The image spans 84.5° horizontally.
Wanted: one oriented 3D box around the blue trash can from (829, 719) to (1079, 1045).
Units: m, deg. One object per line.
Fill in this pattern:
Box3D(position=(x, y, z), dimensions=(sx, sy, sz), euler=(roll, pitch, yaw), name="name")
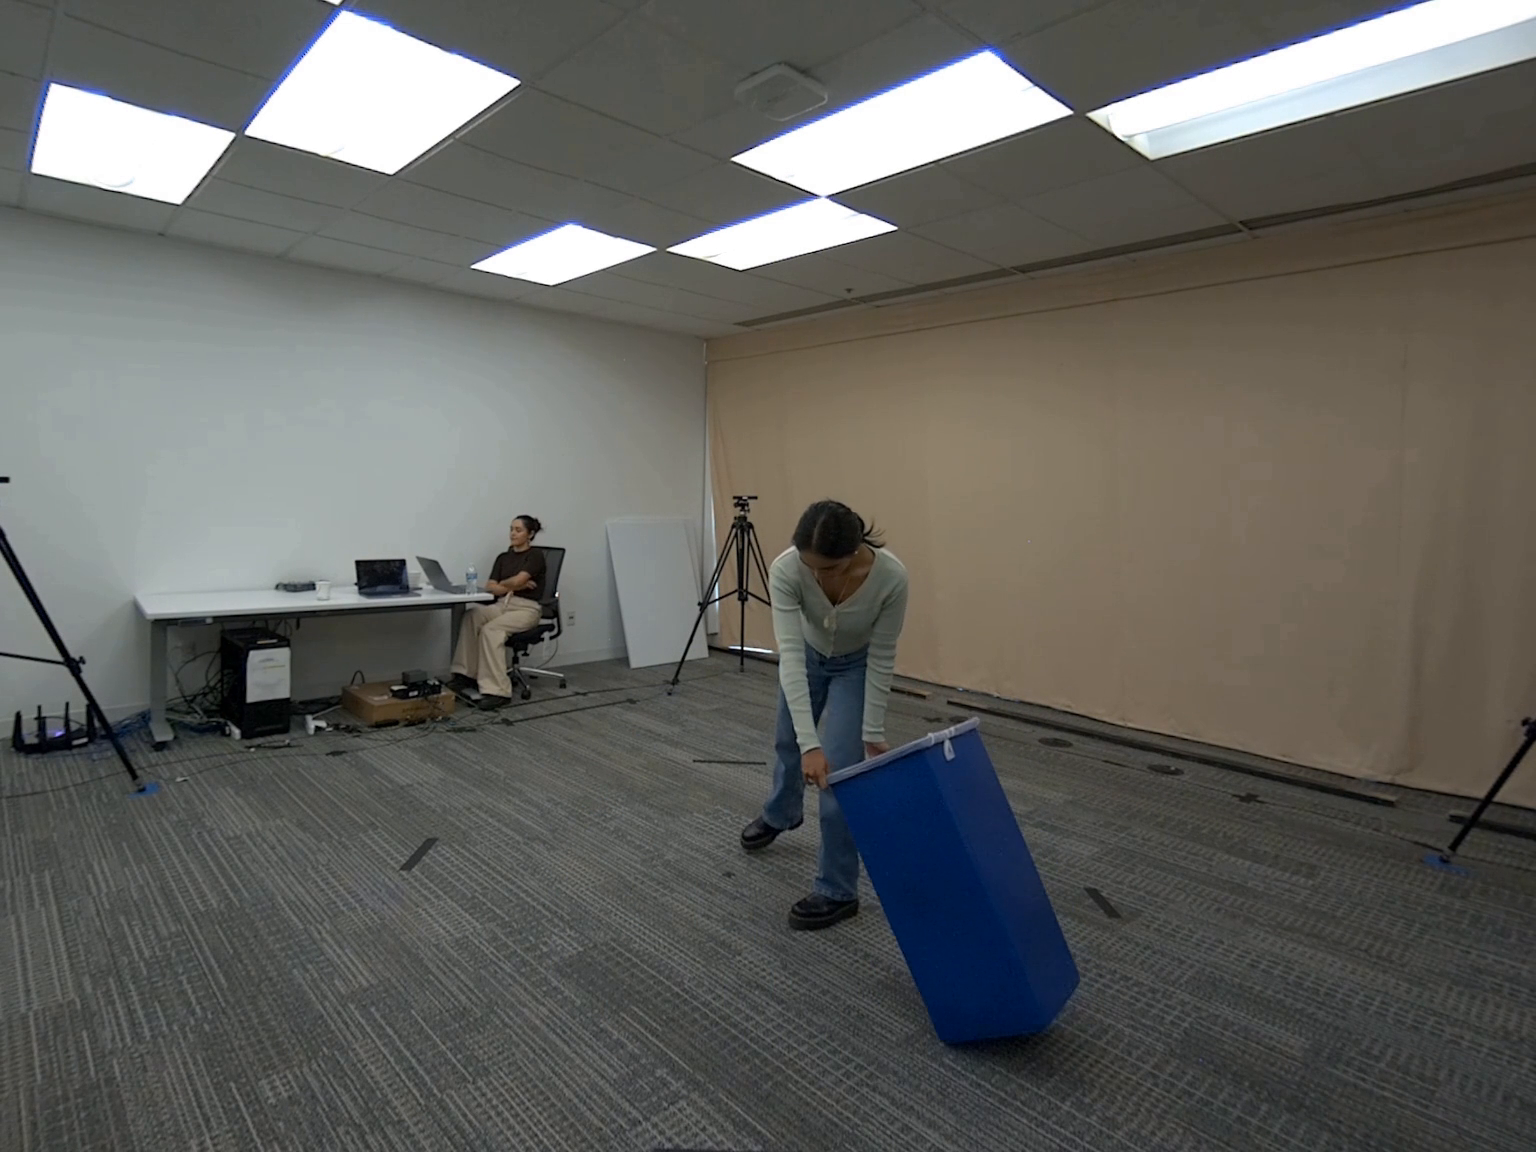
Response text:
Box3D(position=(0.492, 0.814, 2.285), dimensions=(0.377, 0.725, 0.369), euler=(-31, -19, 33), name="blue trash can")
